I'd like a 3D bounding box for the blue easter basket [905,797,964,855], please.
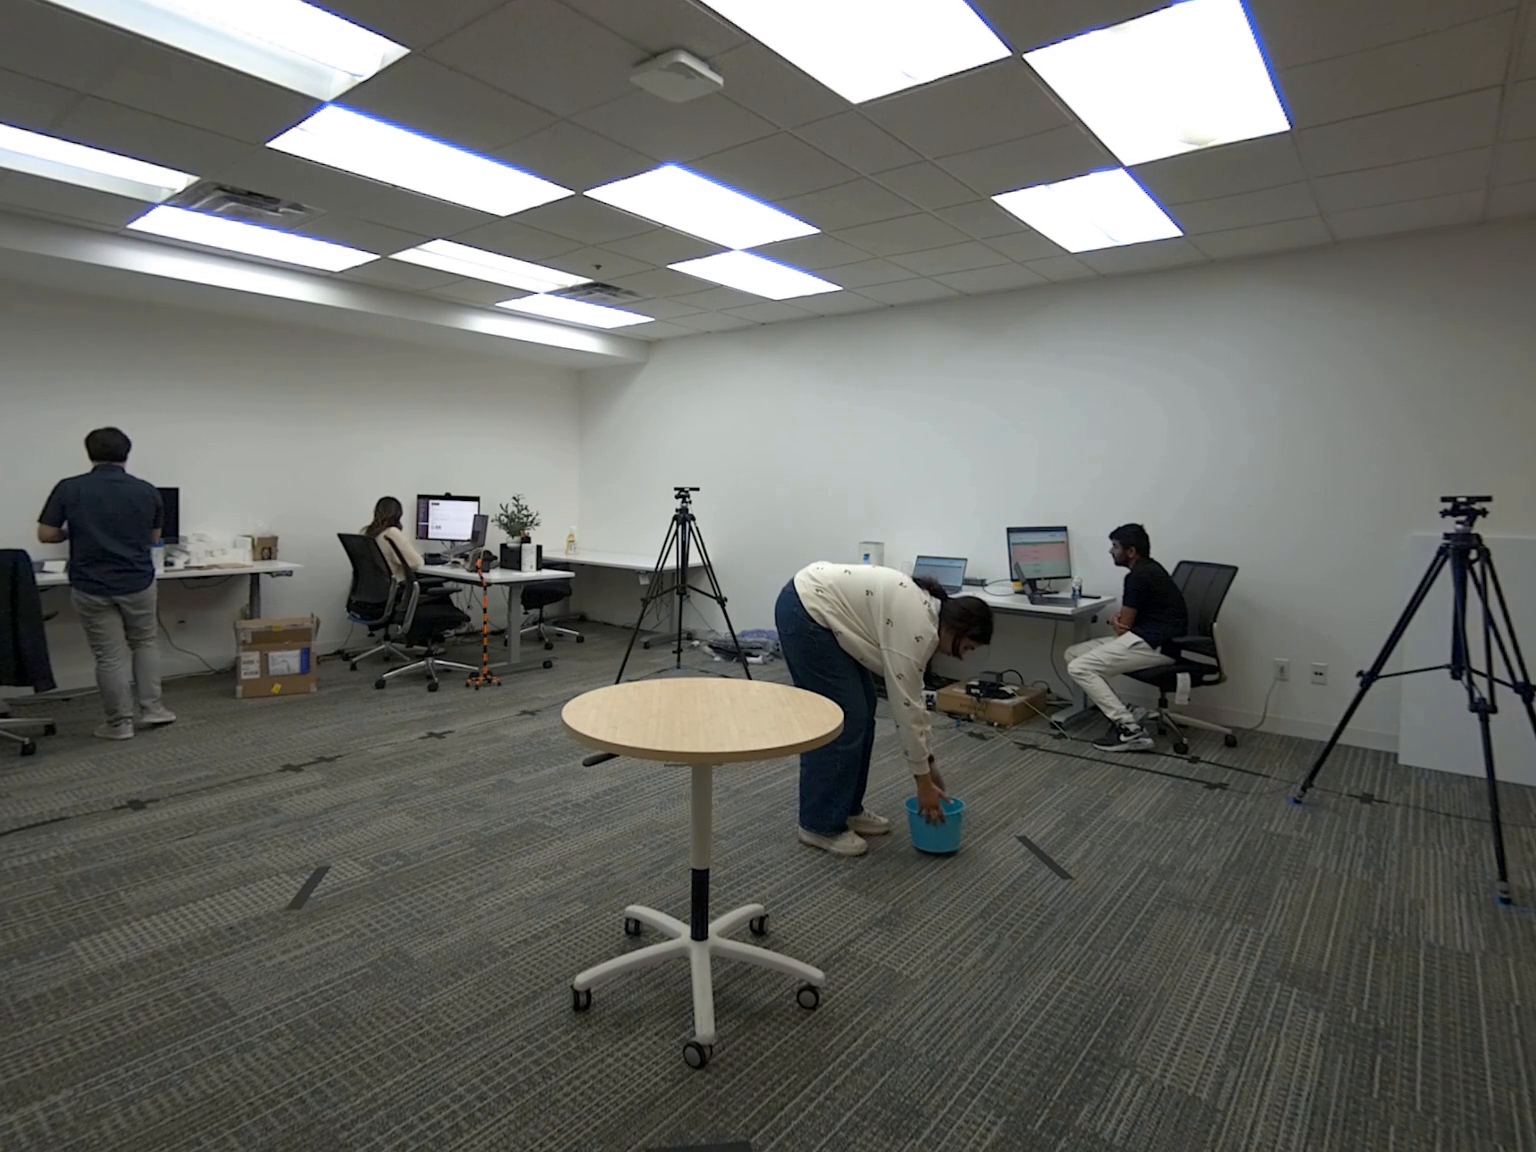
[{"bbox_3d":[0.650,0.962,3.322,0.243,0.155,0.245,-3,5,-2],"label":"blue easter basket"}]
